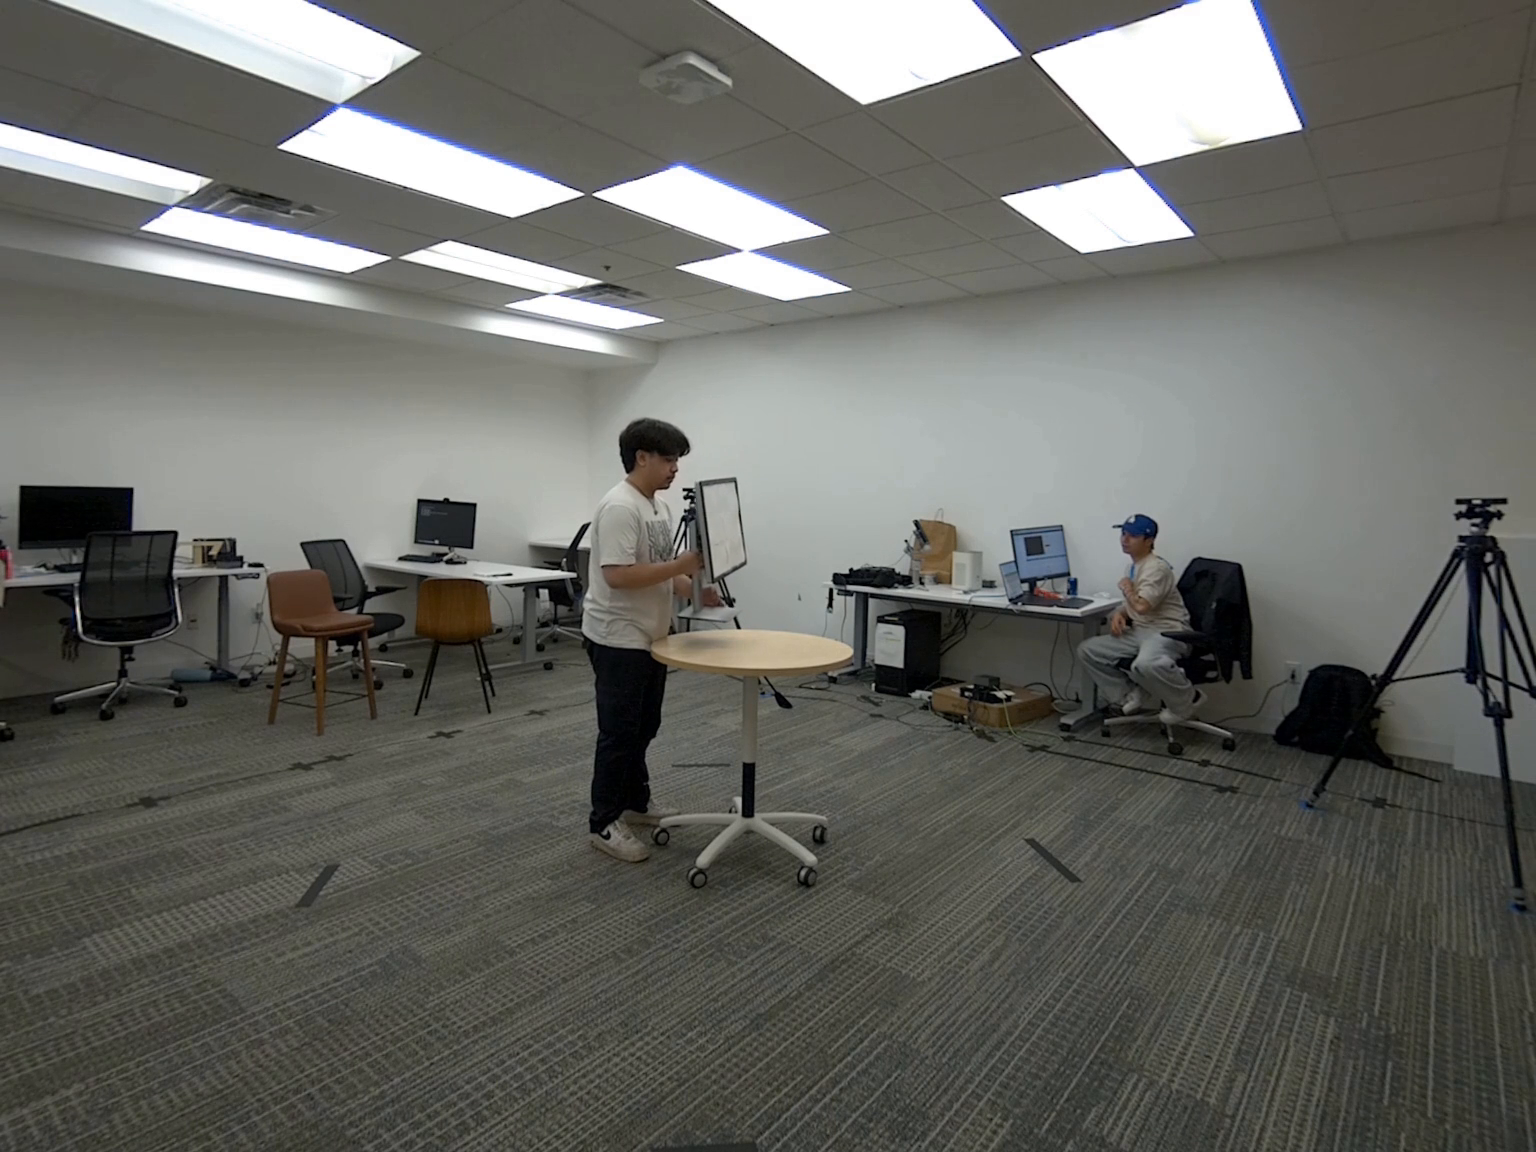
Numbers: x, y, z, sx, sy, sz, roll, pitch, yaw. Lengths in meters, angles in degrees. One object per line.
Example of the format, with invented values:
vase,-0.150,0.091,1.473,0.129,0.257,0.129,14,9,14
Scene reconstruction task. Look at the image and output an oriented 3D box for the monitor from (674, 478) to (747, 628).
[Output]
monitor,-0.250,-0.102,3.267,0.213,0.551,0.561,-1,7,12
